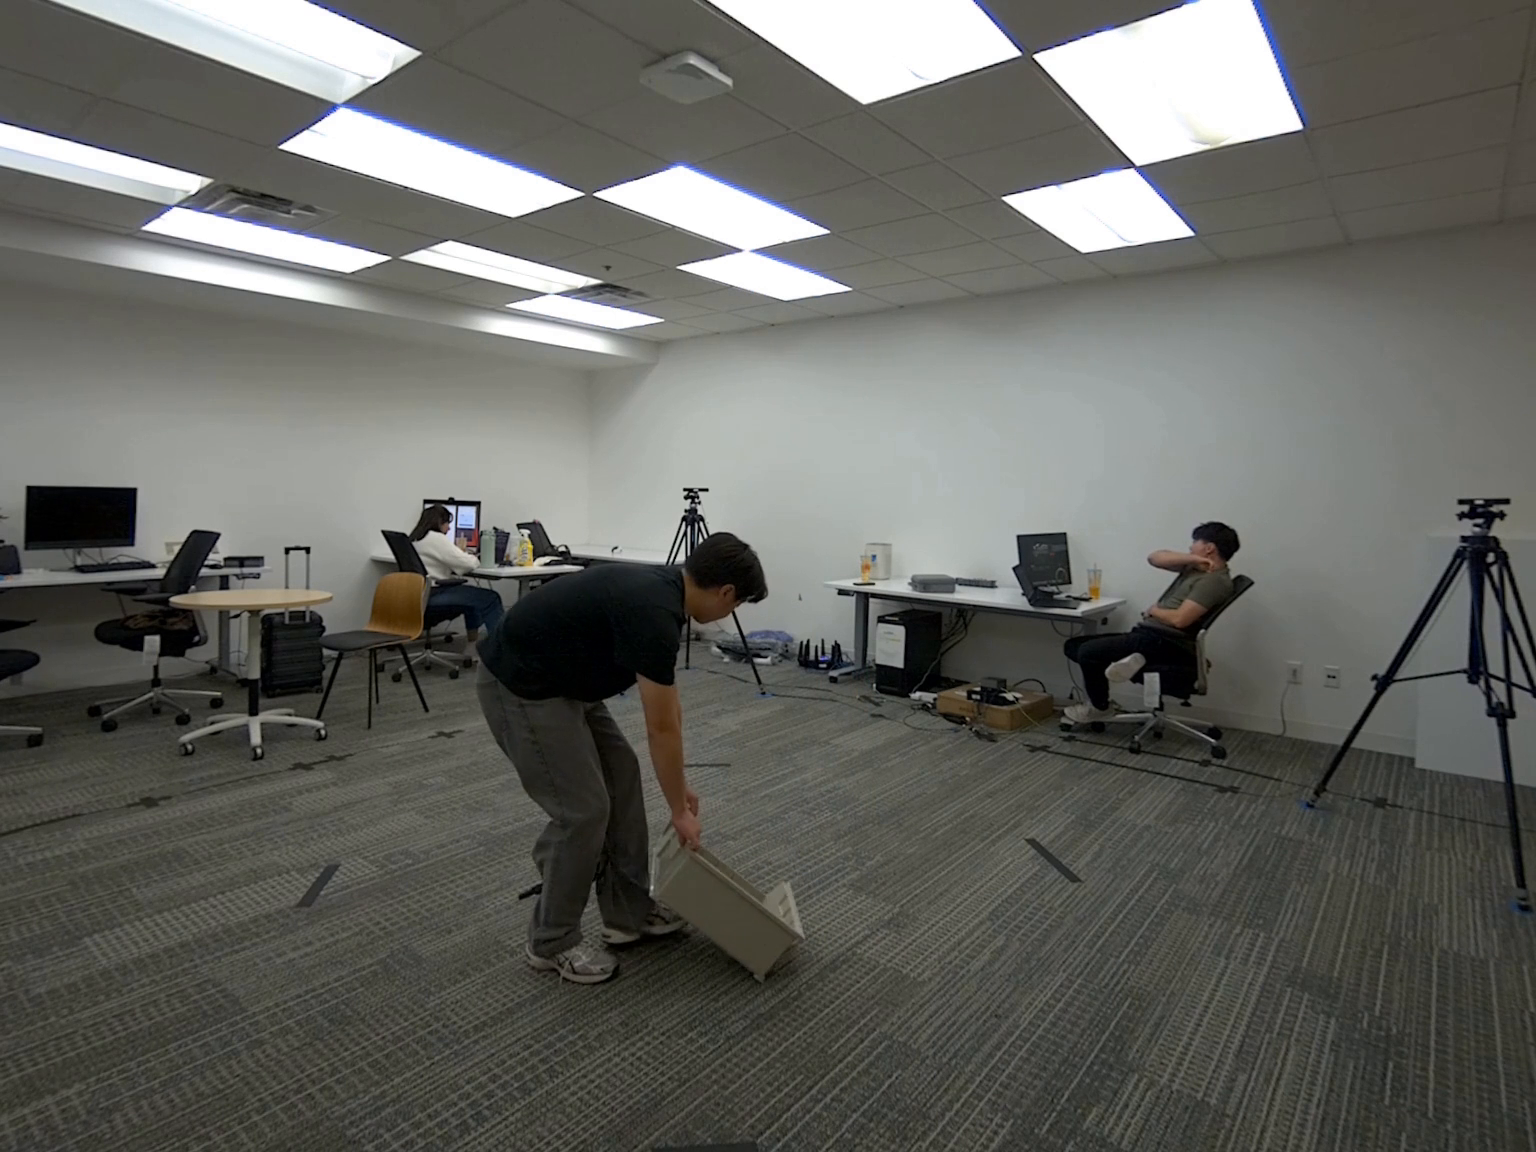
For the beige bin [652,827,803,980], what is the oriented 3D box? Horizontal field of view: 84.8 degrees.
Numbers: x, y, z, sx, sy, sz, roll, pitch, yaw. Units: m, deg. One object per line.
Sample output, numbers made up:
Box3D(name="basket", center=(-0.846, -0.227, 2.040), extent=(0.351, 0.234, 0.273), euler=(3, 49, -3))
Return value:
Box3D(name="beige bin", center=(-0.140, 0.931, 2.543), extent=(0.419, 0.189, 0.381), euler=(40, 2, -7))
